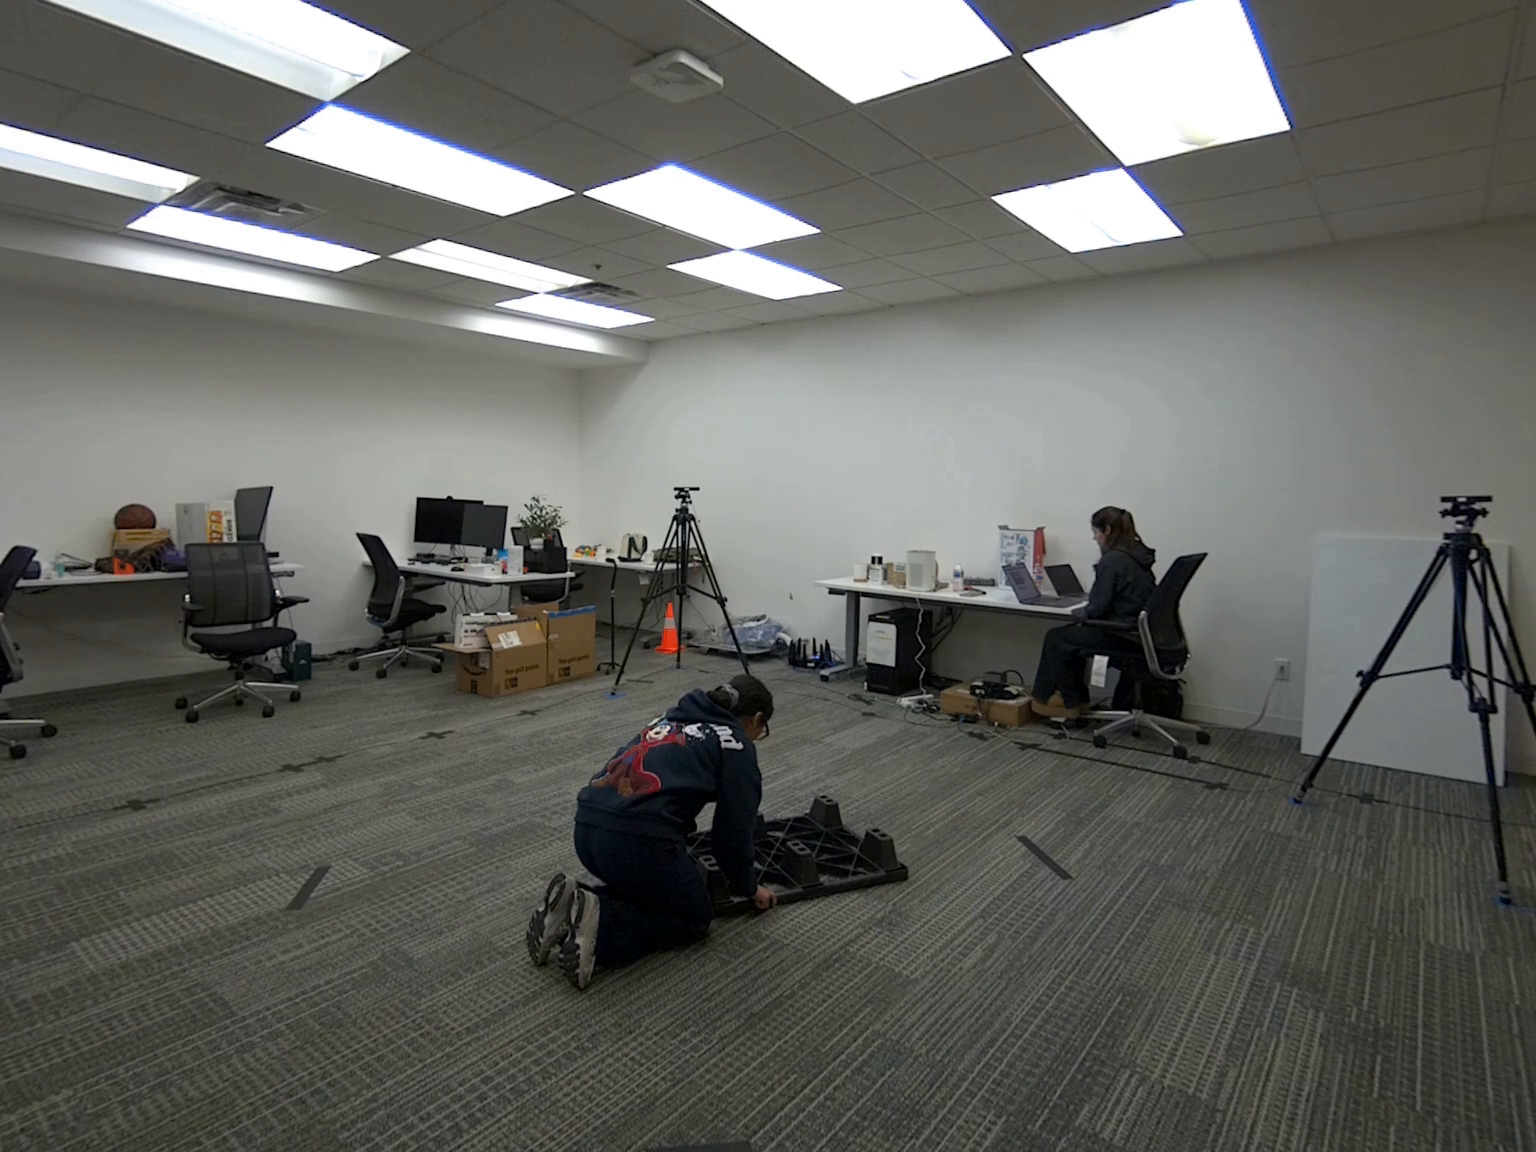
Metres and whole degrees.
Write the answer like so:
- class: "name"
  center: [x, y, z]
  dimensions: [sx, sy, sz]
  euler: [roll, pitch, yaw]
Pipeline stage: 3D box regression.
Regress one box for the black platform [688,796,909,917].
- class: "black platform"
  center: [0.015, 0.997, 3.154]
  dimensions: [0.786, 0.143, 0.622]
  euler: [-2, 6, -27]
